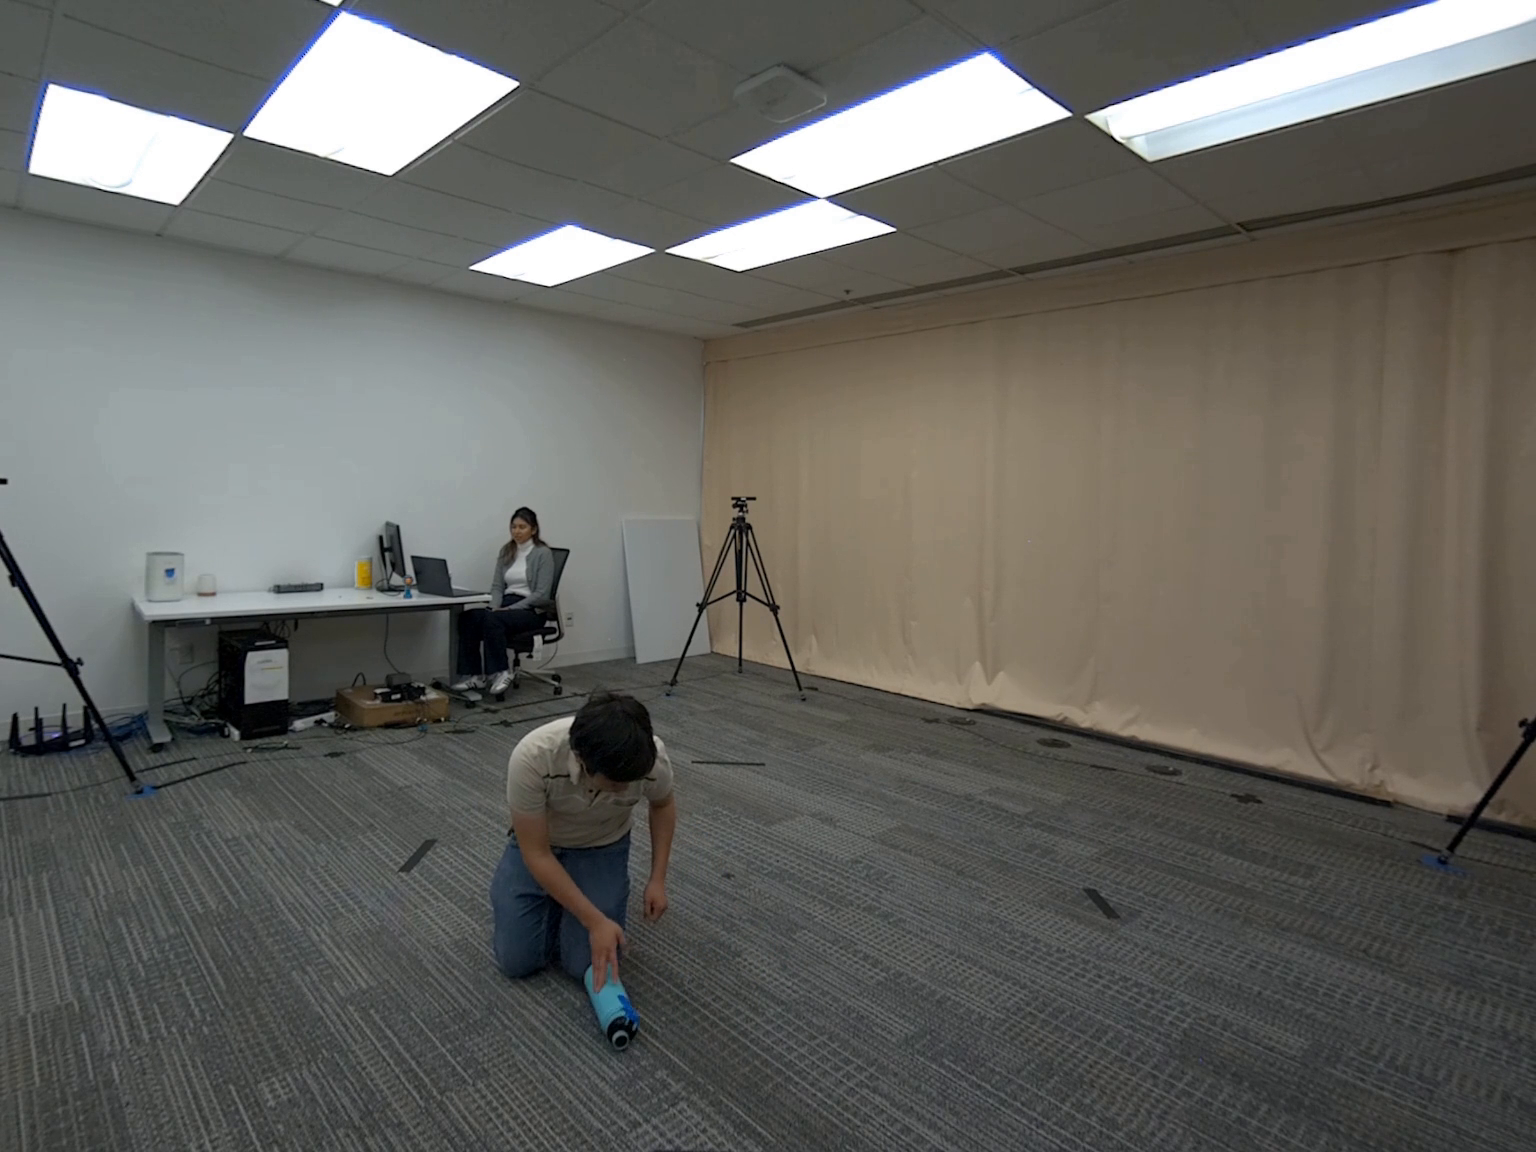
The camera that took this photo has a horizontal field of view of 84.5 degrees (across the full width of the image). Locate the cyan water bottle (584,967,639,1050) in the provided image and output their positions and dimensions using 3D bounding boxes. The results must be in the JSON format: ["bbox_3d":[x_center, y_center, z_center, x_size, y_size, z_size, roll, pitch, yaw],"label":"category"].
[{"bbox_3d":[-0.410,1.143,2.224,0.091,0.092,0.289,0,6,-22],"label":"cyan water bottle"}]
